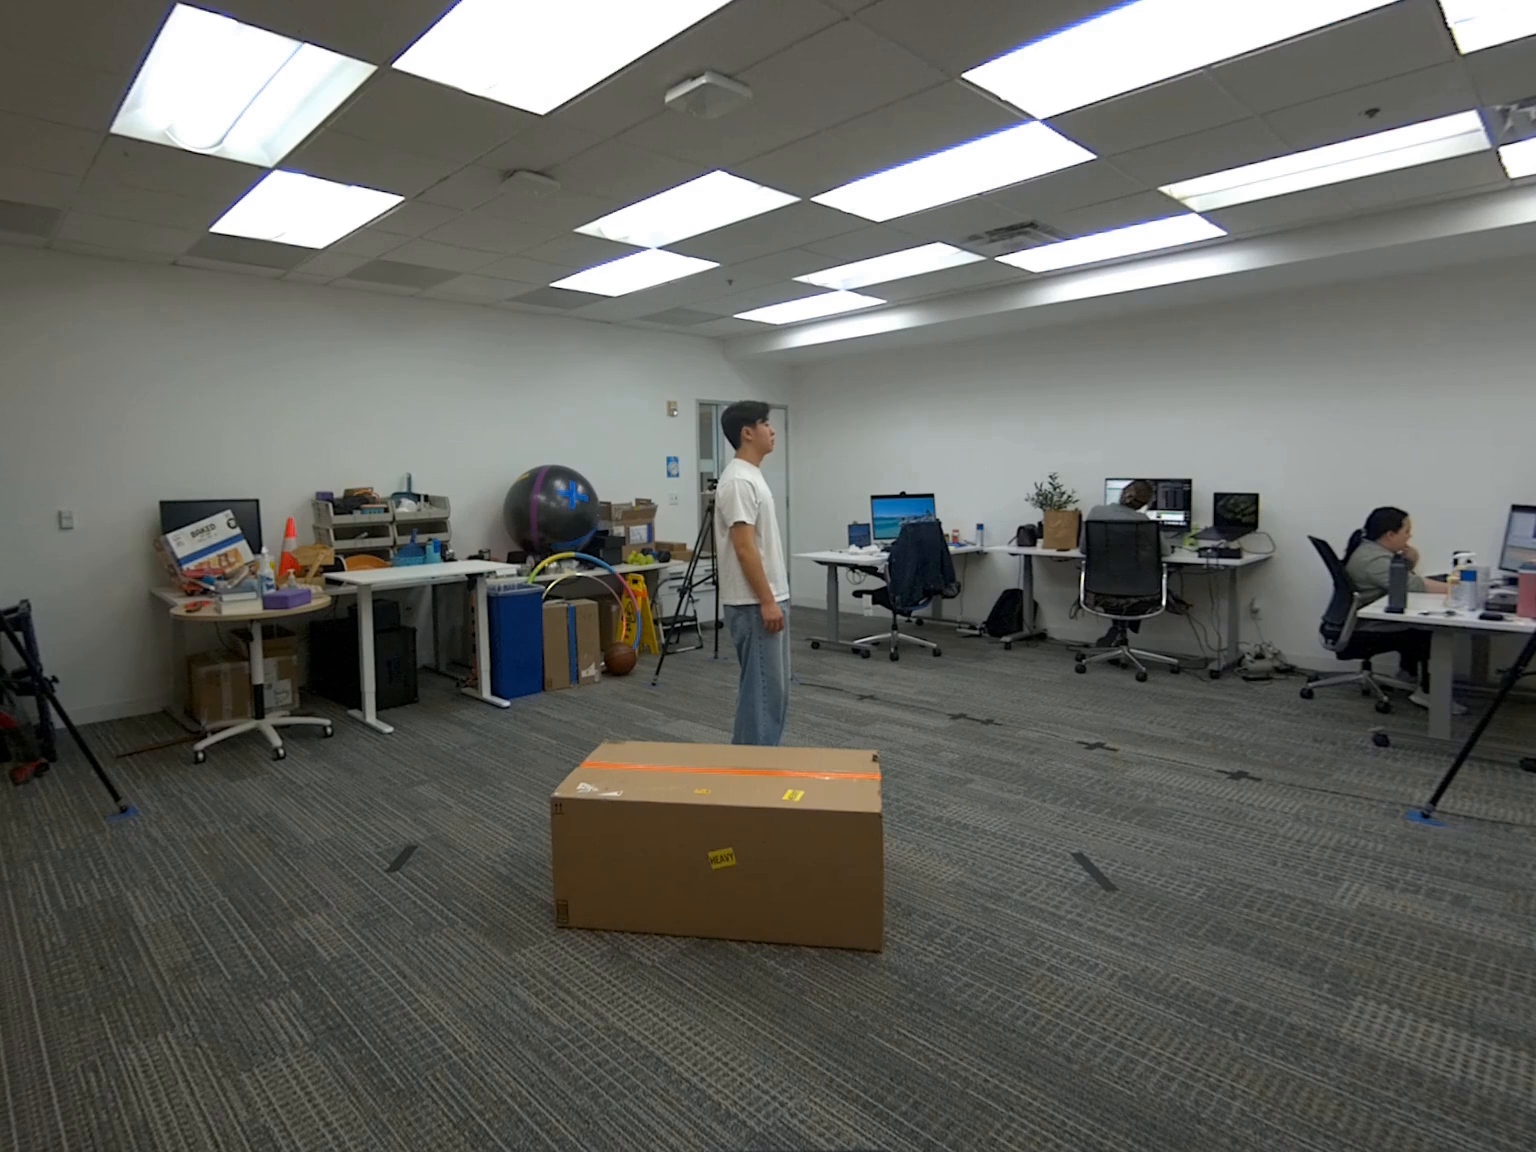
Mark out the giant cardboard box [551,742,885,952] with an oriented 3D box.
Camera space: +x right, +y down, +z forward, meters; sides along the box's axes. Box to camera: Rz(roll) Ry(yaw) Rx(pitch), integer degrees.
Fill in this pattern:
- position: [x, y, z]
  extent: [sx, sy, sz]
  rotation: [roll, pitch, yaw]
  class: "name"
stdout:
- position: [-0.136, 0.855, 2.863]
  extent: [1.035, 0.424, 0.575]
  rotation: [0, 6, 9]
  class: "giant cardboard box"
